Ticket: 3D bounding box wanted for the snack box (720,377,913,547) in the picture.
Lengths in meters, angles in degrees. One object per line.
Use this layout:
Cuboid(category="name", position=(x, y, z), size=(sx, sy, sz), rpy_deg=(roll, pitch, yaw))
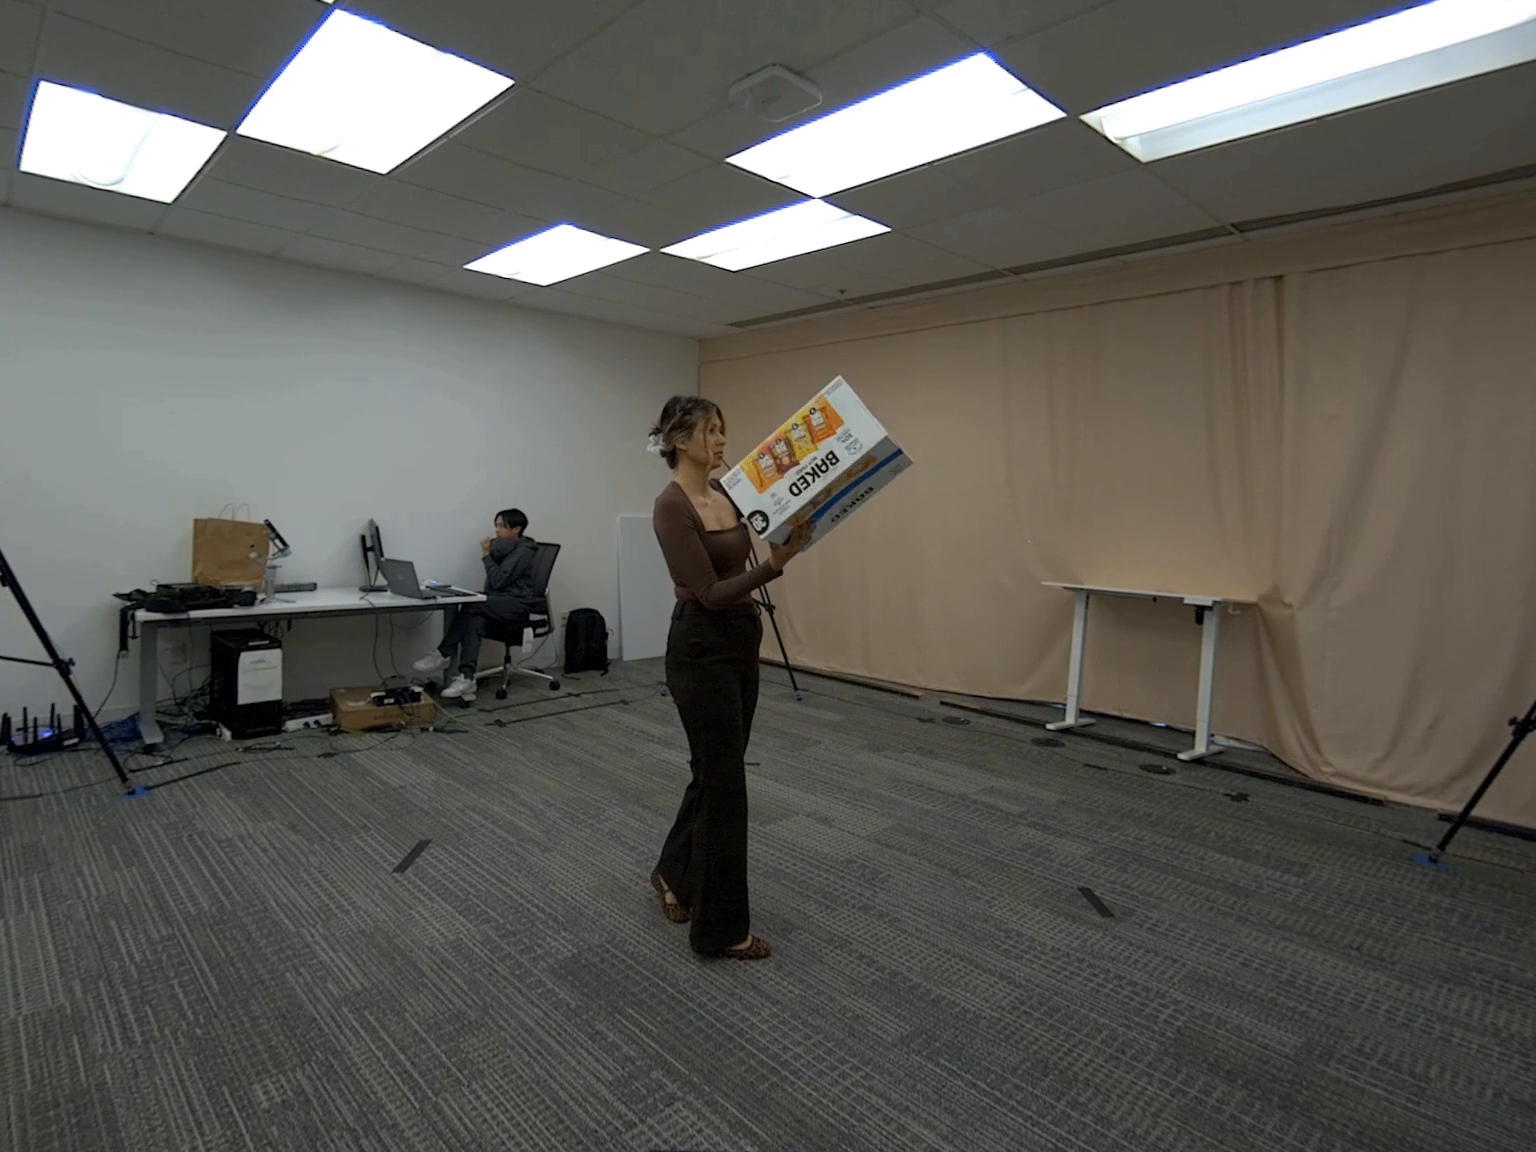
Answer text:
Cuboid(category="snack box", position=(0.135, -0.285, 2.233), size=(0.406, 0.209, 0.333), rpy_deg=(-39, -17, 13))
